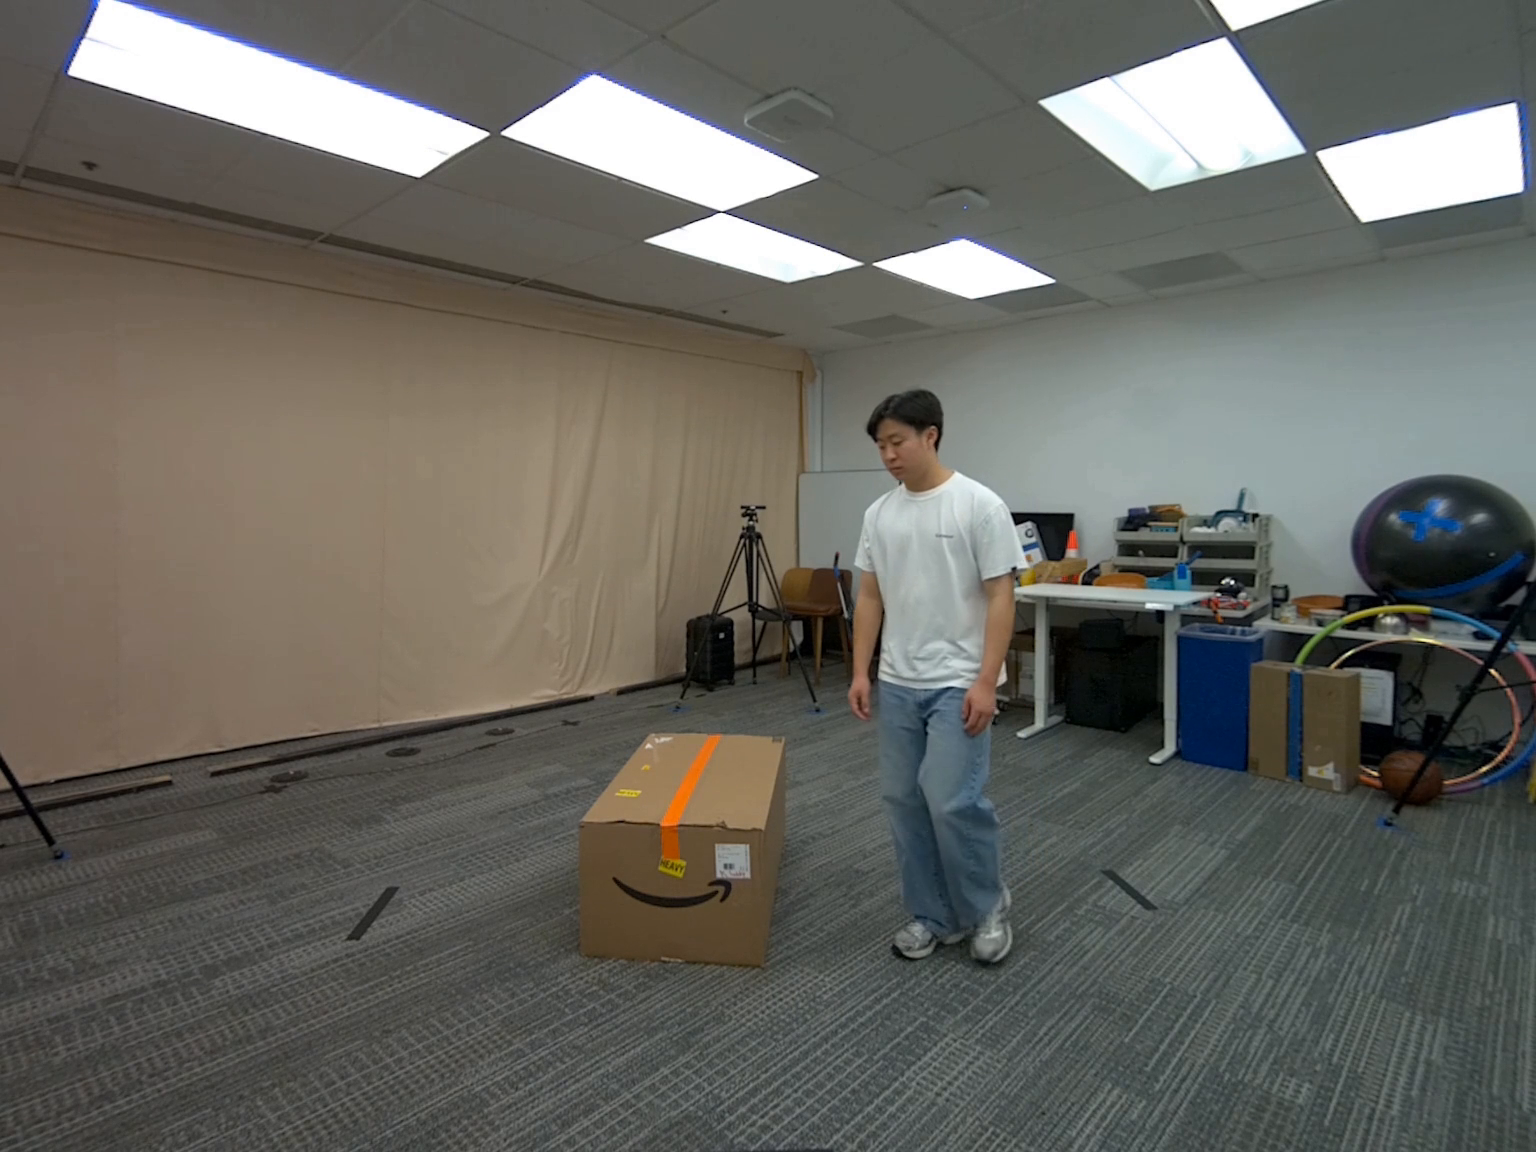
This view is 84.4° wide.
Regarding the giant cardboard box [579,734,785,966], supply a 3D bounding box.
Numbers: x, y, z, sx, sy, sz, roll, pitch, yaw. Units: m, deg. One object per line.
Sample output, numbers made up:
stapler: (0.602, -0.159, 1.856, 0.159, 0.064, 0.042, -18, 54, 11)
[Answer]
giant cardboard box: (-0.255, 0.919, 3.064, 0.582, 0.425, 1.021, 0, 4, 5)
